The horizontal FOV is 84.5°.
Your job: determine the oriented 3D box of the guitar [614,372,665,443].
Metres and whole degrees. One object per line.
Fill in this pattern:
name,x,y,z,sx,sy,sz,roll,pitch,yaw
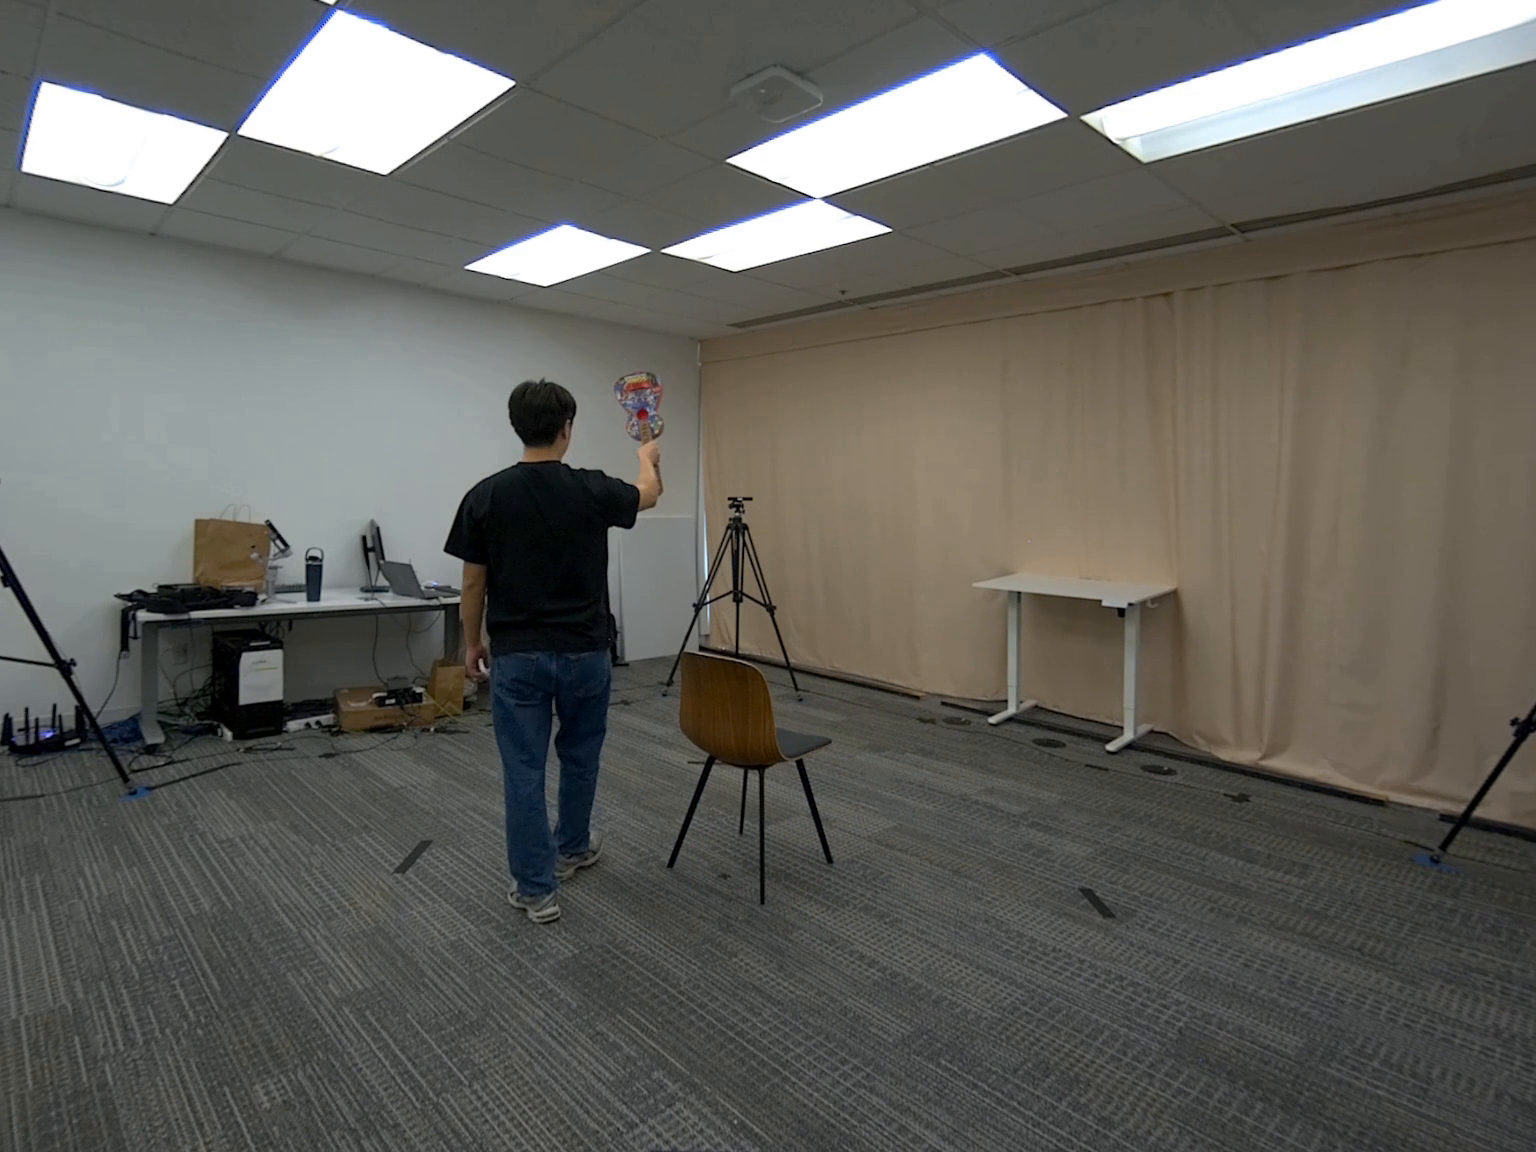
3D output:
guitar,-0.512,-0.557,3.331,0.193,0.500,0.070,-2,-6,1
